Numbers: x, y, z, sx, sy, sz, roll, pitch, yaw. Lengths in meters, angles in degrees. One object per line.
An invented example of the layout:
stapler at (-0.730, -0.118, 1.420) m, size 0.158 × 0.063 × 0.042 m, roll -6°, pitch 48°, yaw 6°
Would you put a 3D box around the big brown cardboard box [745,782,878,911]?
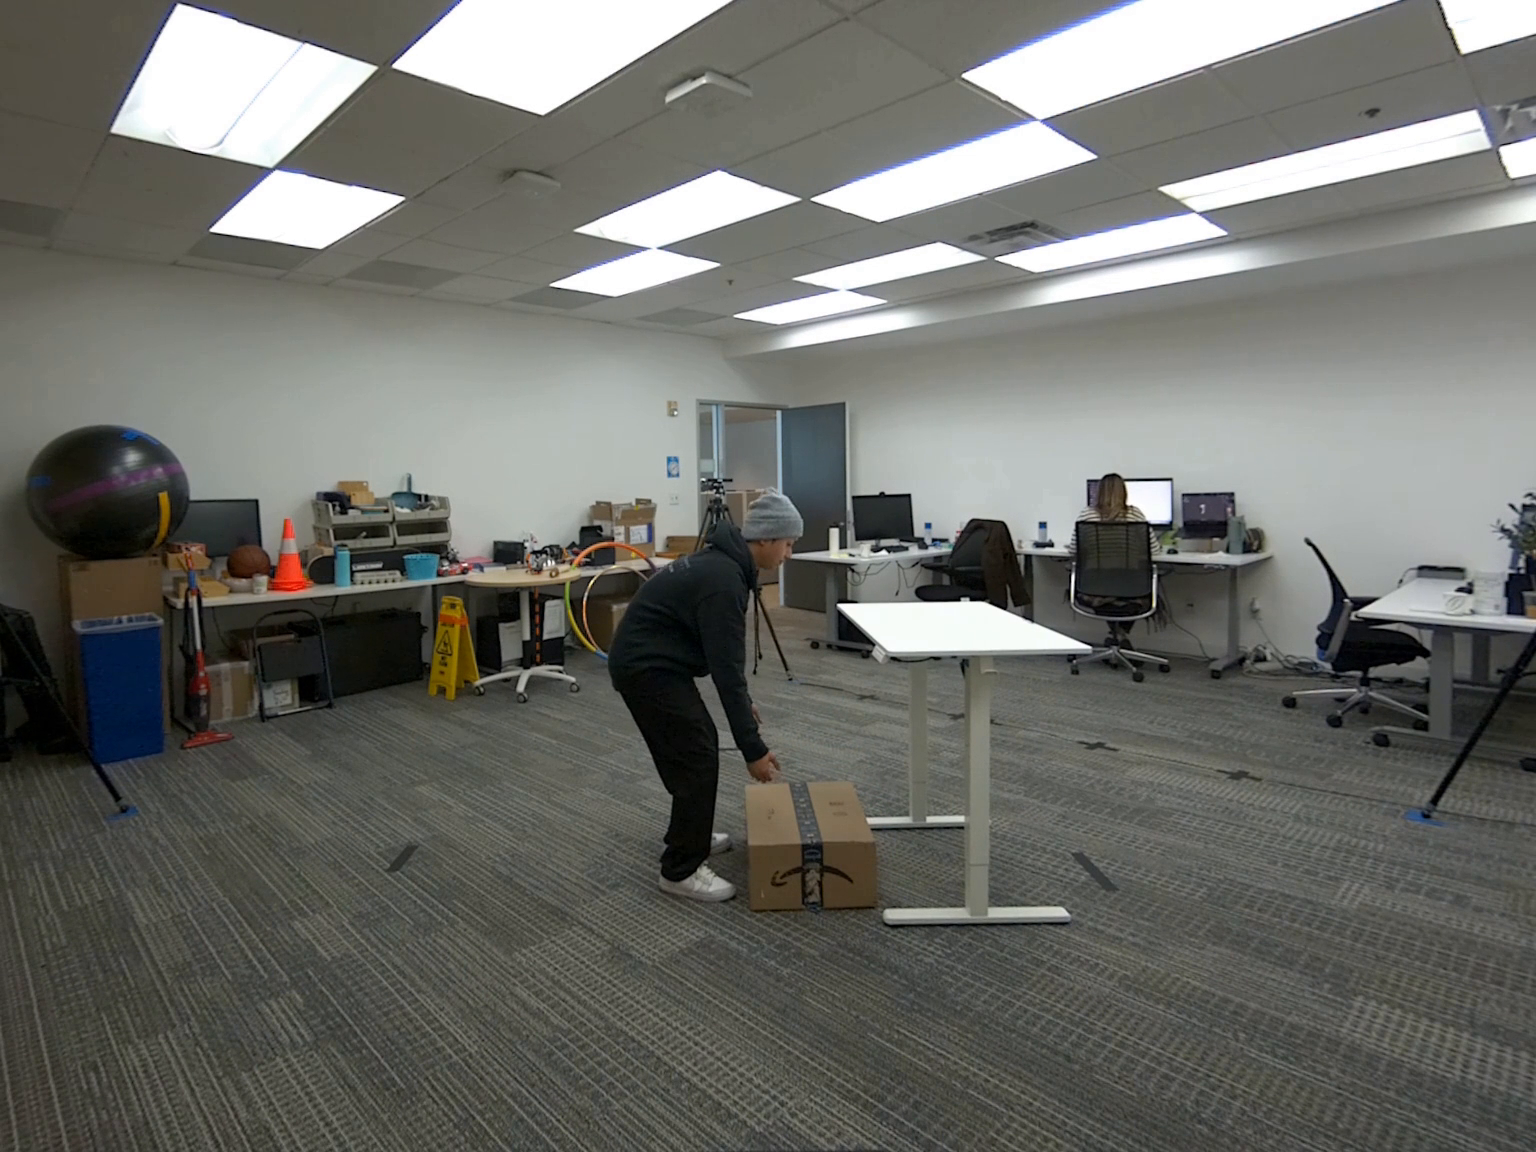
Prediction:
big brown cardboard box at (0.134, 0.937, 3.029) m, size 0.417 × 0.232 × 0.592 m, roll -2°, pitch 7°, yaw -2°
